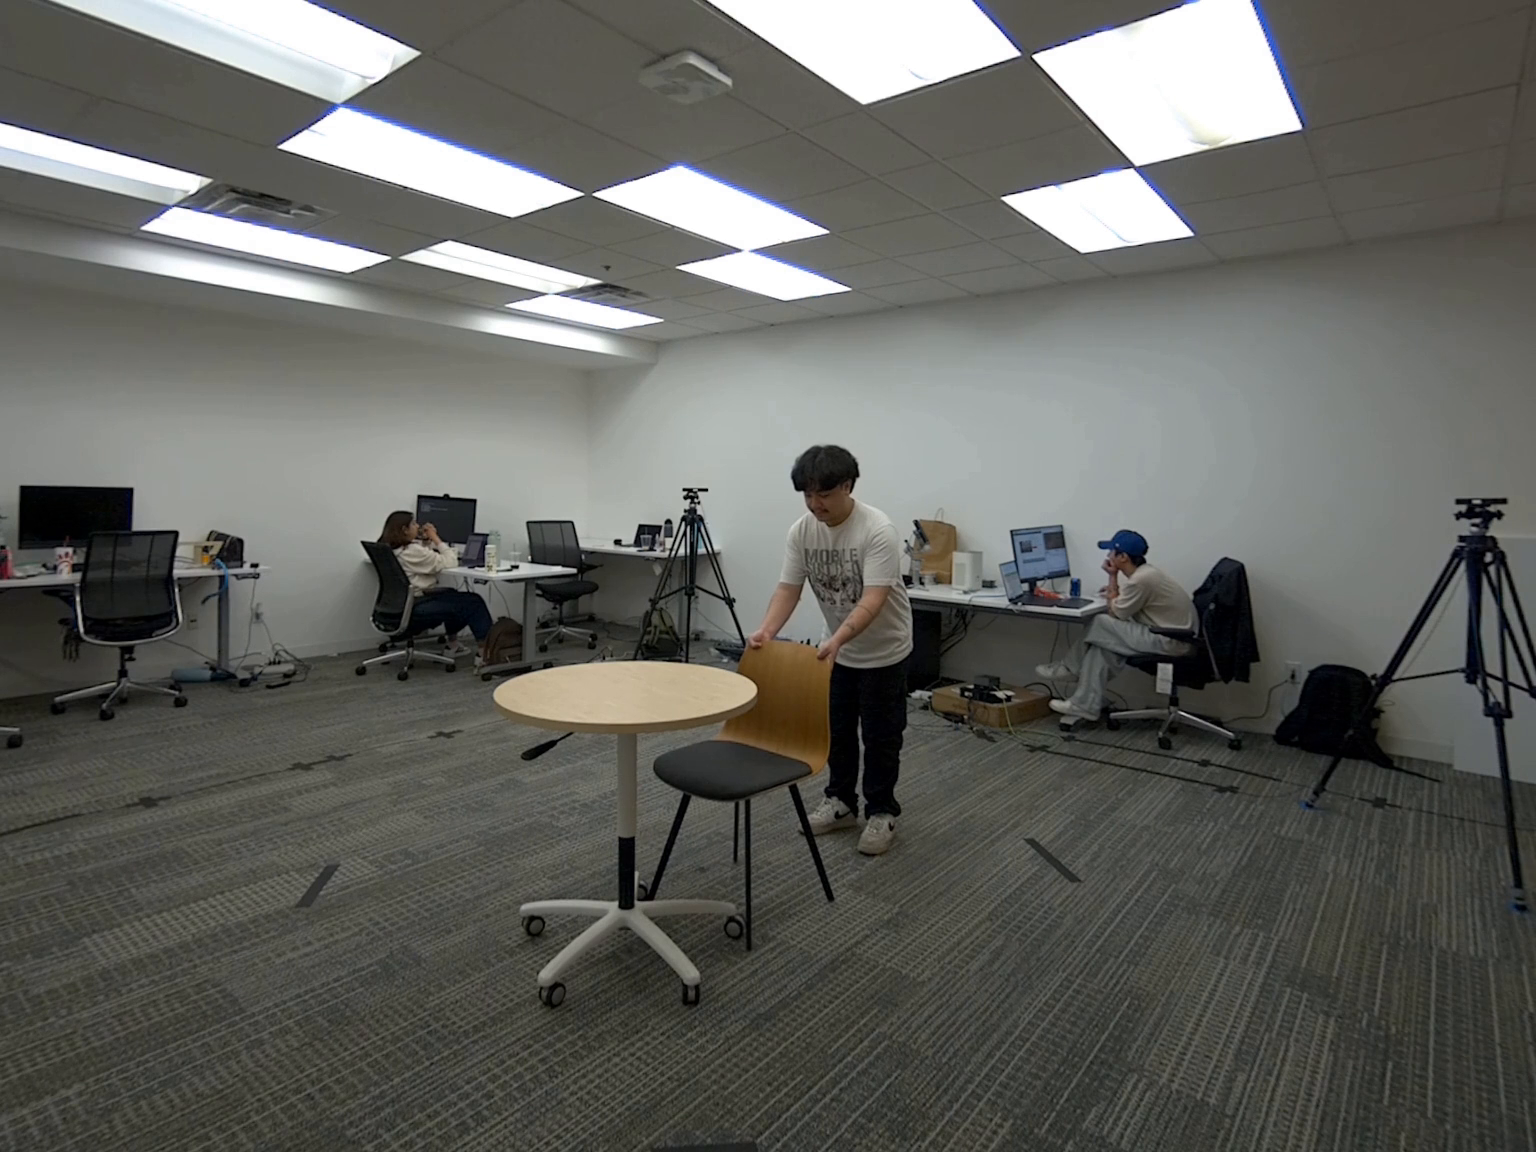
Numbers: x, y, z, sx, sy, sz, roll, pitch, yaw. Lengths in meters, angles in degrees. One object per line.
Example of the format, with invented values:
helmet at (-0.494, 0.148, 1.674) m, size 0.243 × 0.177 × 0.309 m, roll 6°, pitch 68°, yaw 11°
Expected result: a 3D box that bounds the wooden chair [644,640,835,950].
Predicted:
wooden chair at (-0.093, 0.669, 2.845) m, size 0.494 × 0.877 × 0.506 m, roll 5°, pitch 1°, yaw 41°
